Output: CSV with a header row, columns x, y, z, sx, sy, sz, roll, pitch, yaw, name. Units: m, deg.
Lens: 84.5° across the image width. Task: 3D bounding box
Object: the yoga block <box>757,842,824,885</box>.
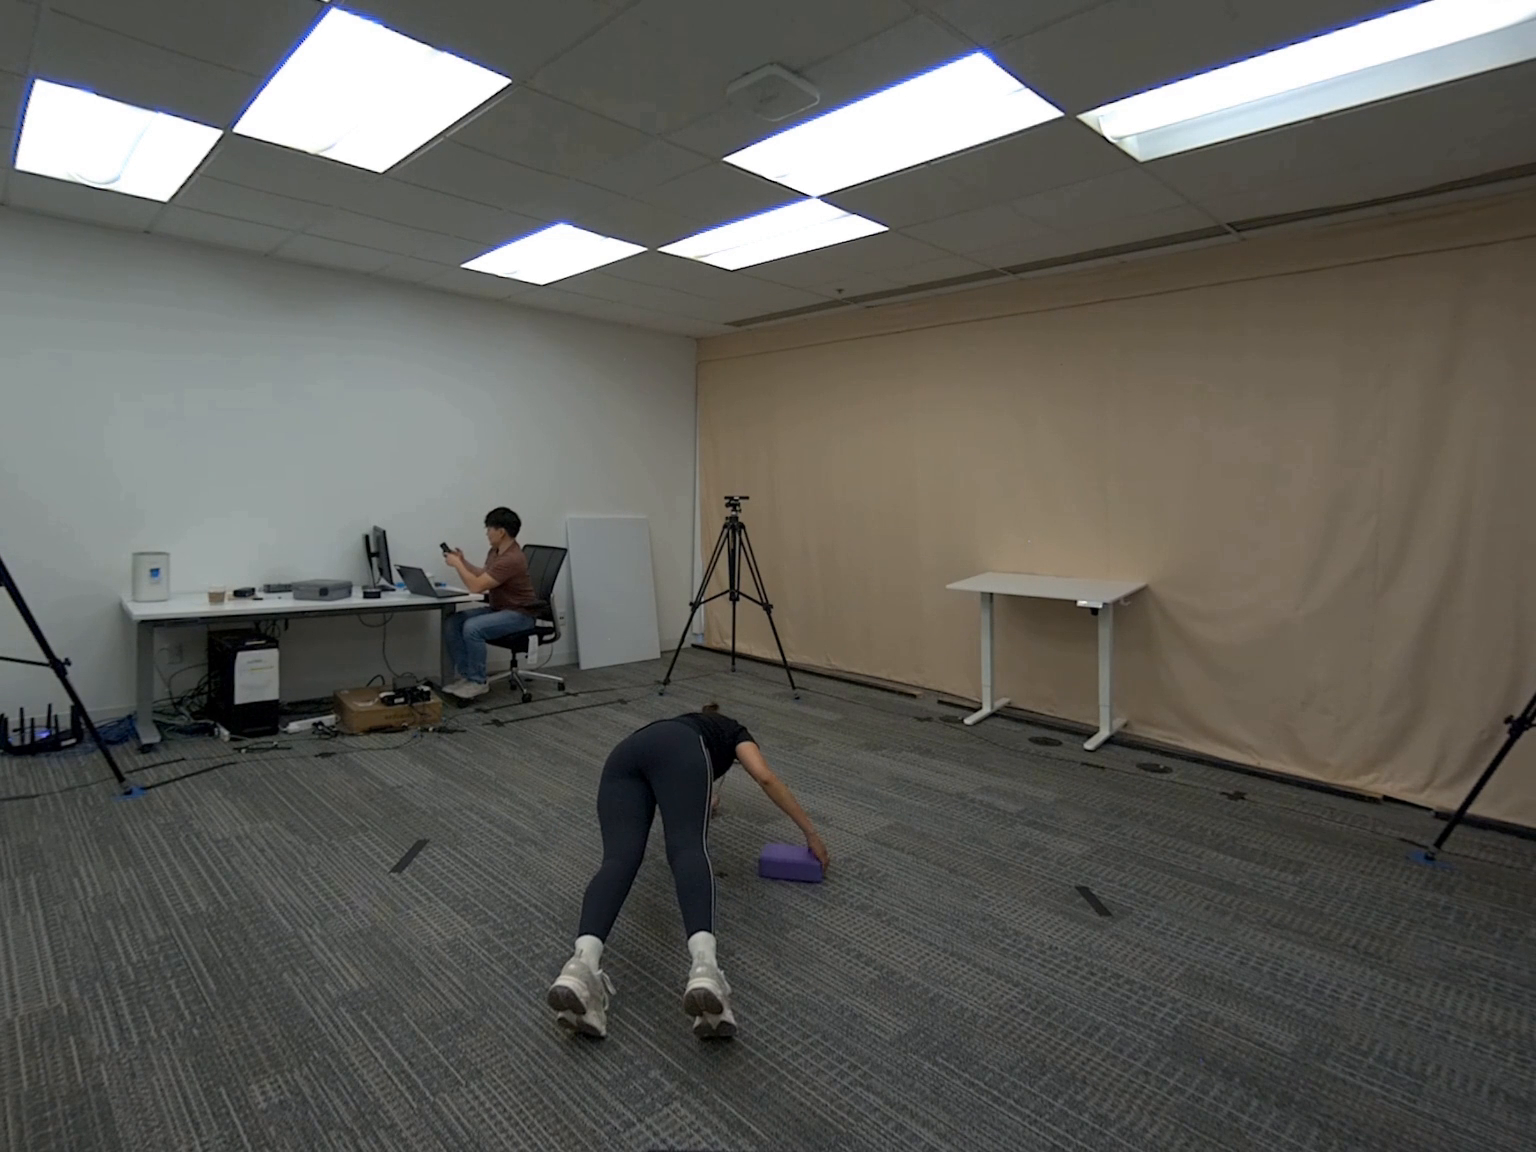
x,y,z,sx,sy,sz,roll,pitch,yaw,name
0.072,1.059,3.128,0.232,0.076,0.148,1,6,12,yoga block
